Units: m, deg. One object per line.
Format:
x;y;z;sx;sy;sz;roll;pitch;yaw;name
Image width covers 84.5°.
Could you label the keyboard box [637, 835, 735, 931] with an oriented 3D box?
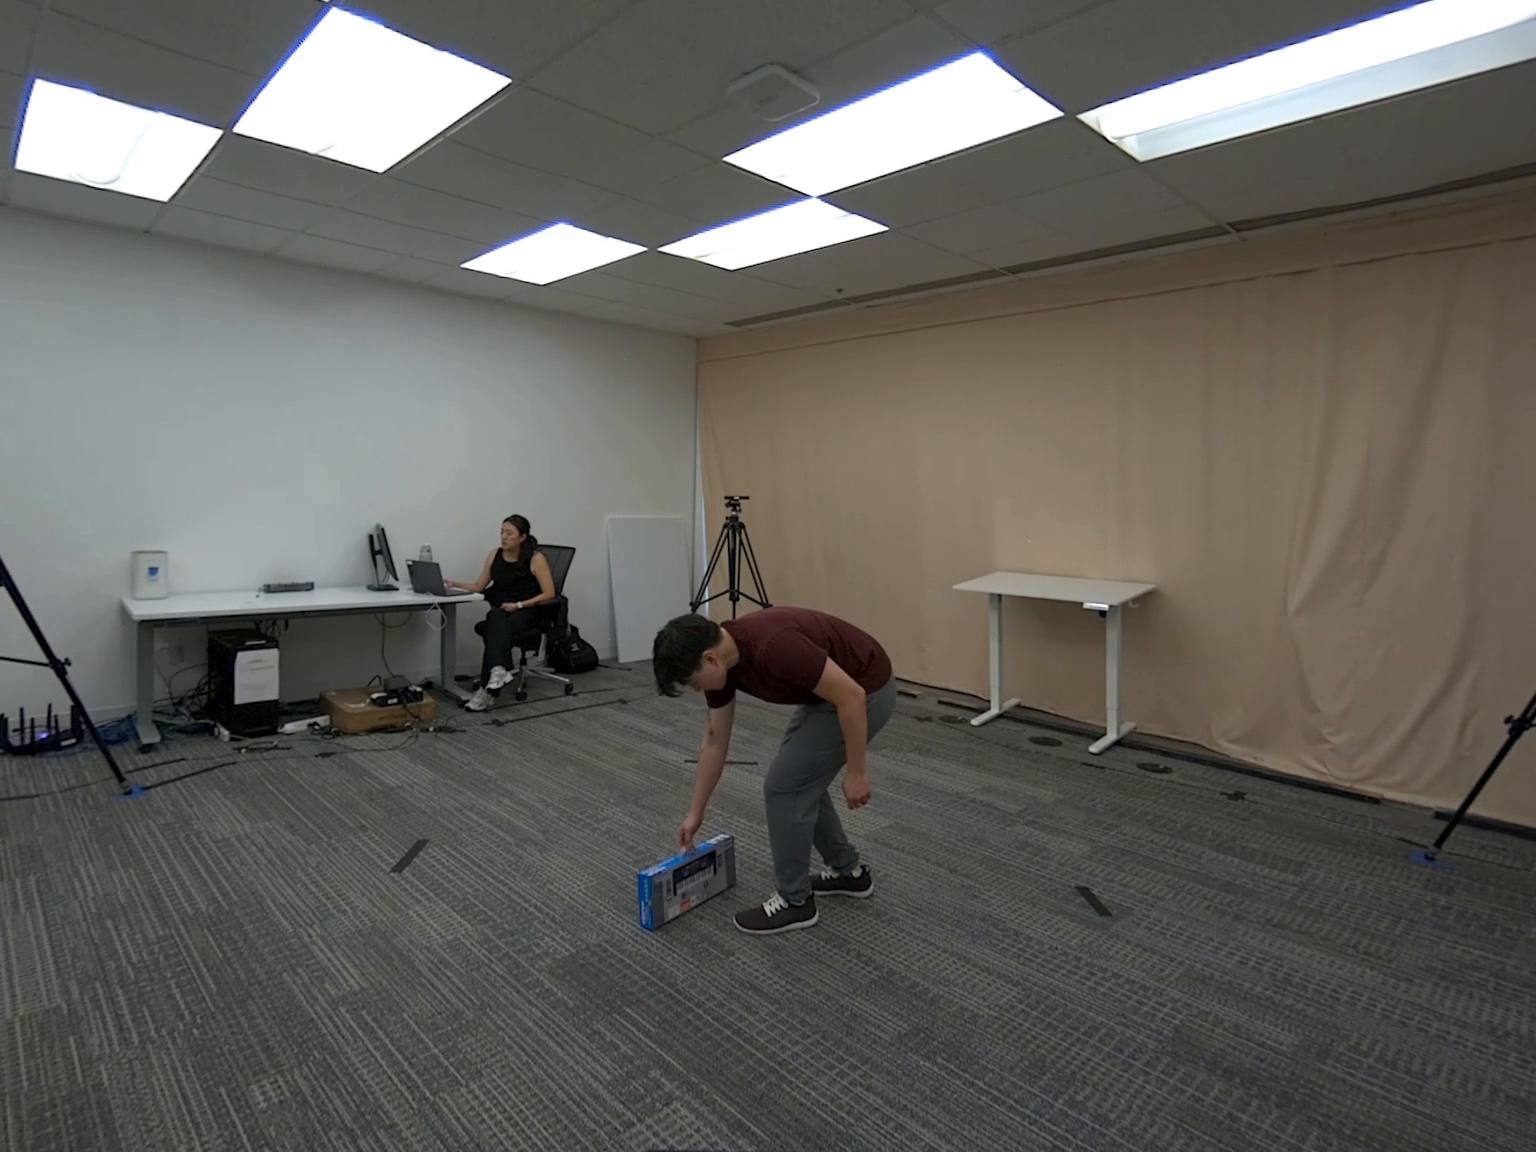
-0.271;1.034;2.873;0.060;0.176;0.427;-4;0;37;keyboard box
